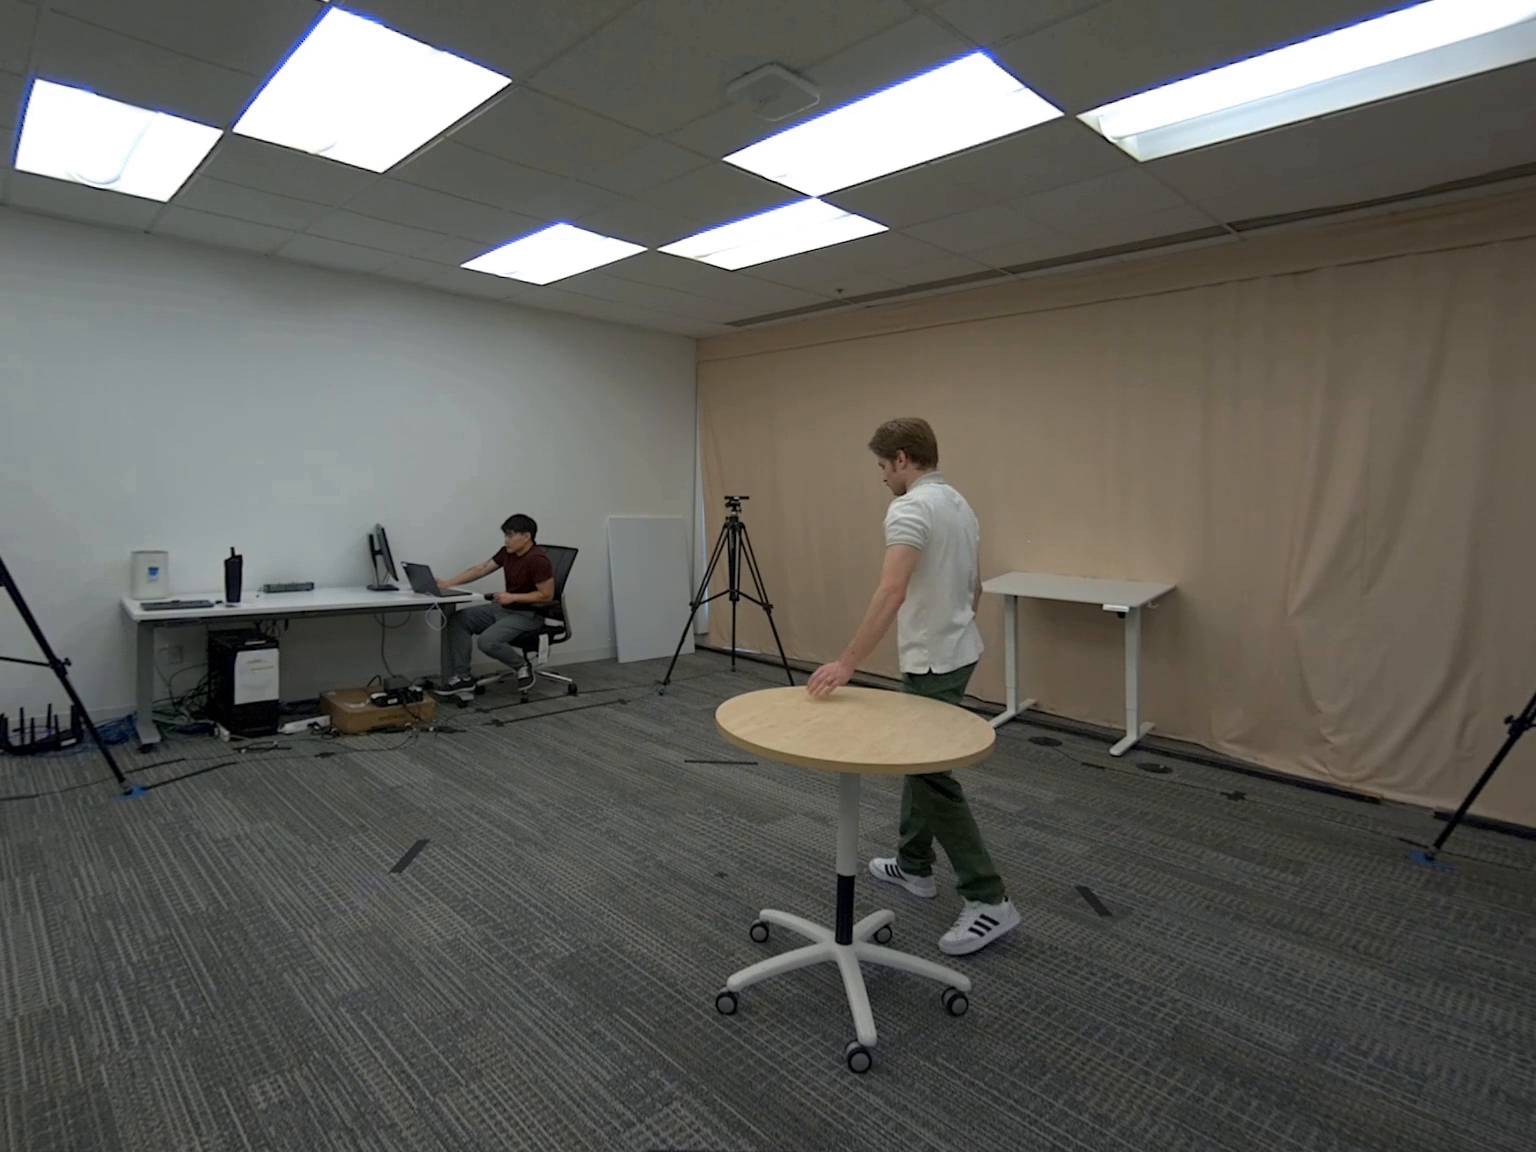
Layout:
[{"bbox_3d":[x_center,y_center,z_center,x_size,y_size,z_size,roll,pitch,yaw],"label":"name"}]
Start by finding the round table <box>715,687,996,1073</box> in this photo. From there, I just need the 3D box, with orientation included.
[{"bbox_3d":[0.222,0.787,2.385,0.784,0.784,0.788,2,5,-2],"label":"round table"}]
